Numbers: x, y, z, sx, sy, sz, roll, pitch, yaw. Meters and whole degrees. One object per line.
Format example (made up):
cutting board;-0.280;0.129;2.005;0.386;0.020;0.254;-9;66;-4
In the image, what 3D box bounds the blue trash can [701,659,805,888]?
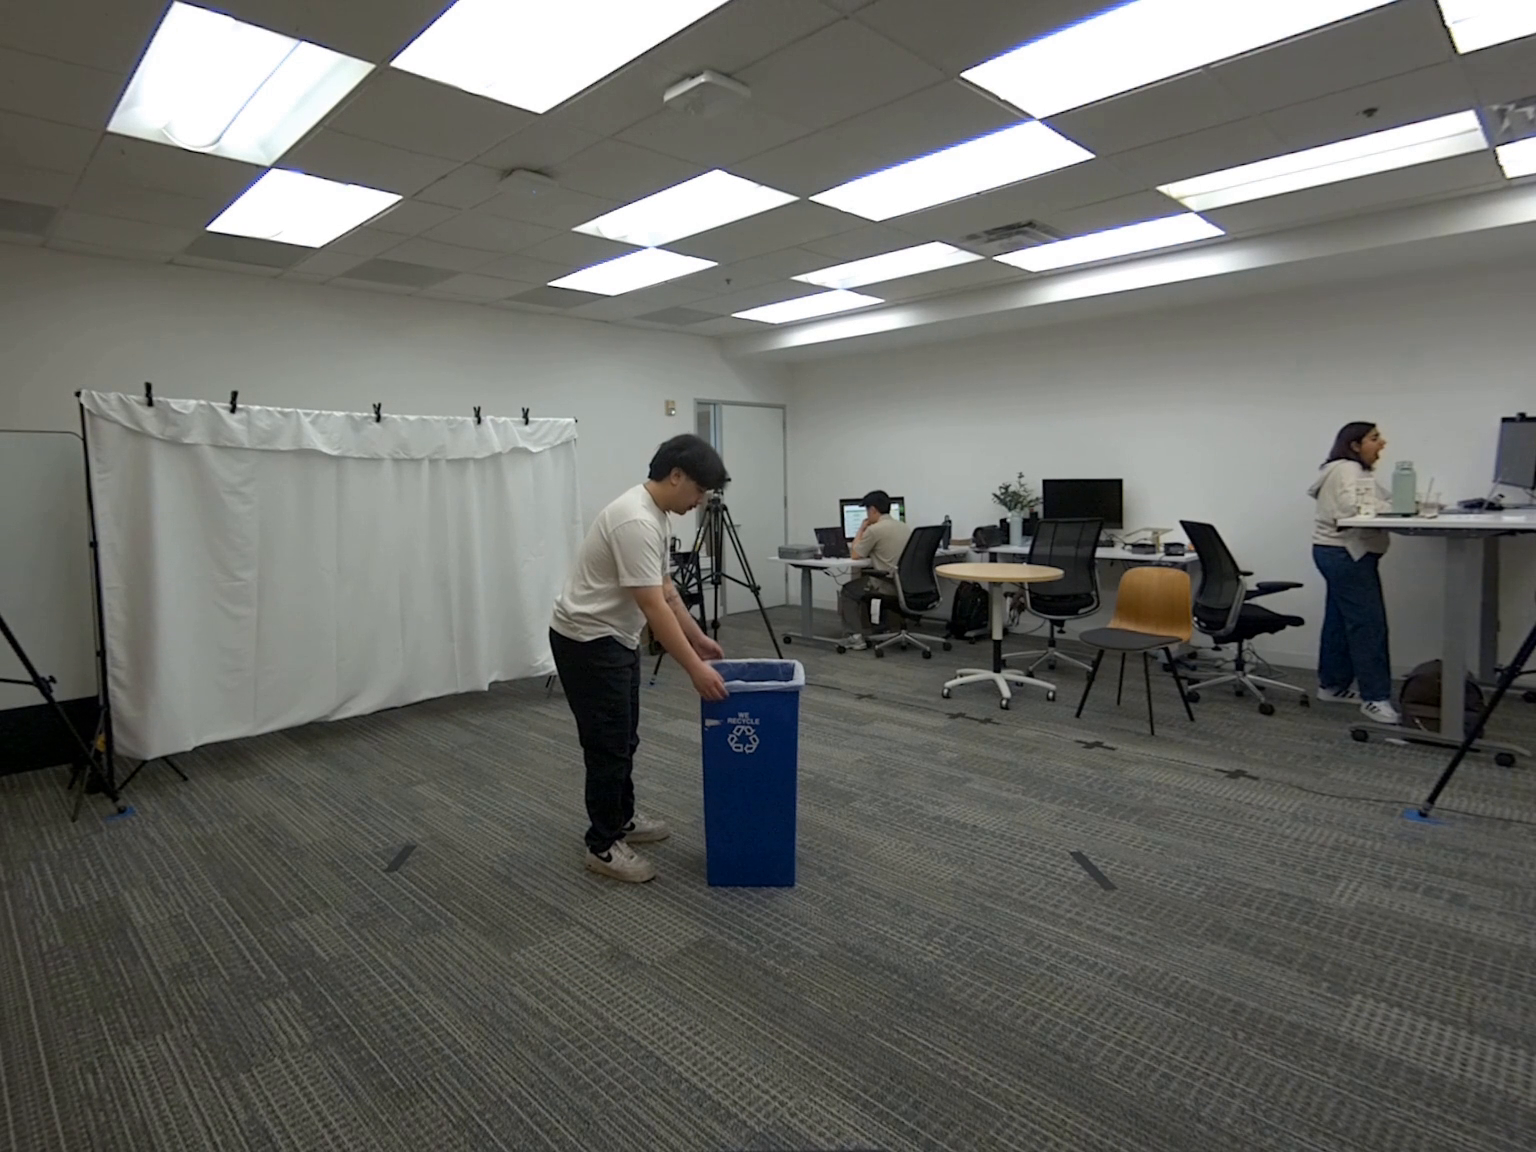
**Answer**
blue trash can;-0.060;0.690;3.051;0.375;0.711;0.379;-1;4;1
